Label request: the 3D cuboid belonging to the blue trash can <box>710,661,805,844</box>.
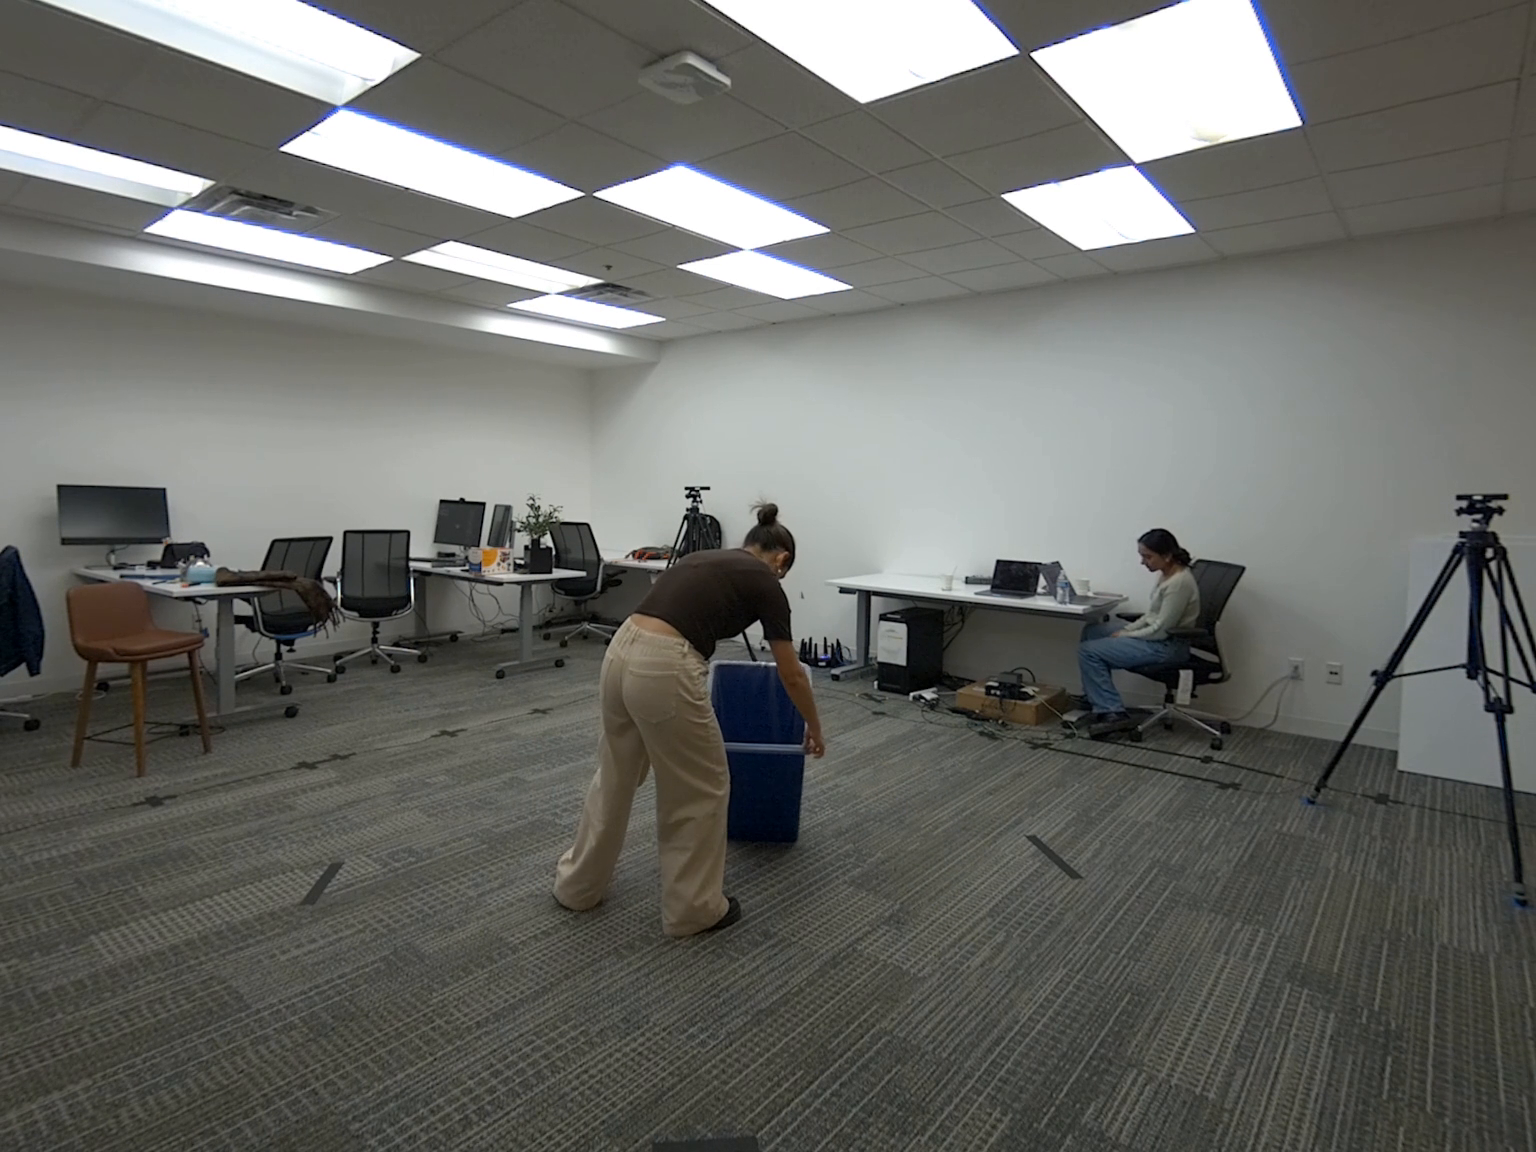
[{"bbox_3d":[-0.040,0.693,3.207,0.380,0.692,0.383,2,43,4],"label":"blue trash can"}]
